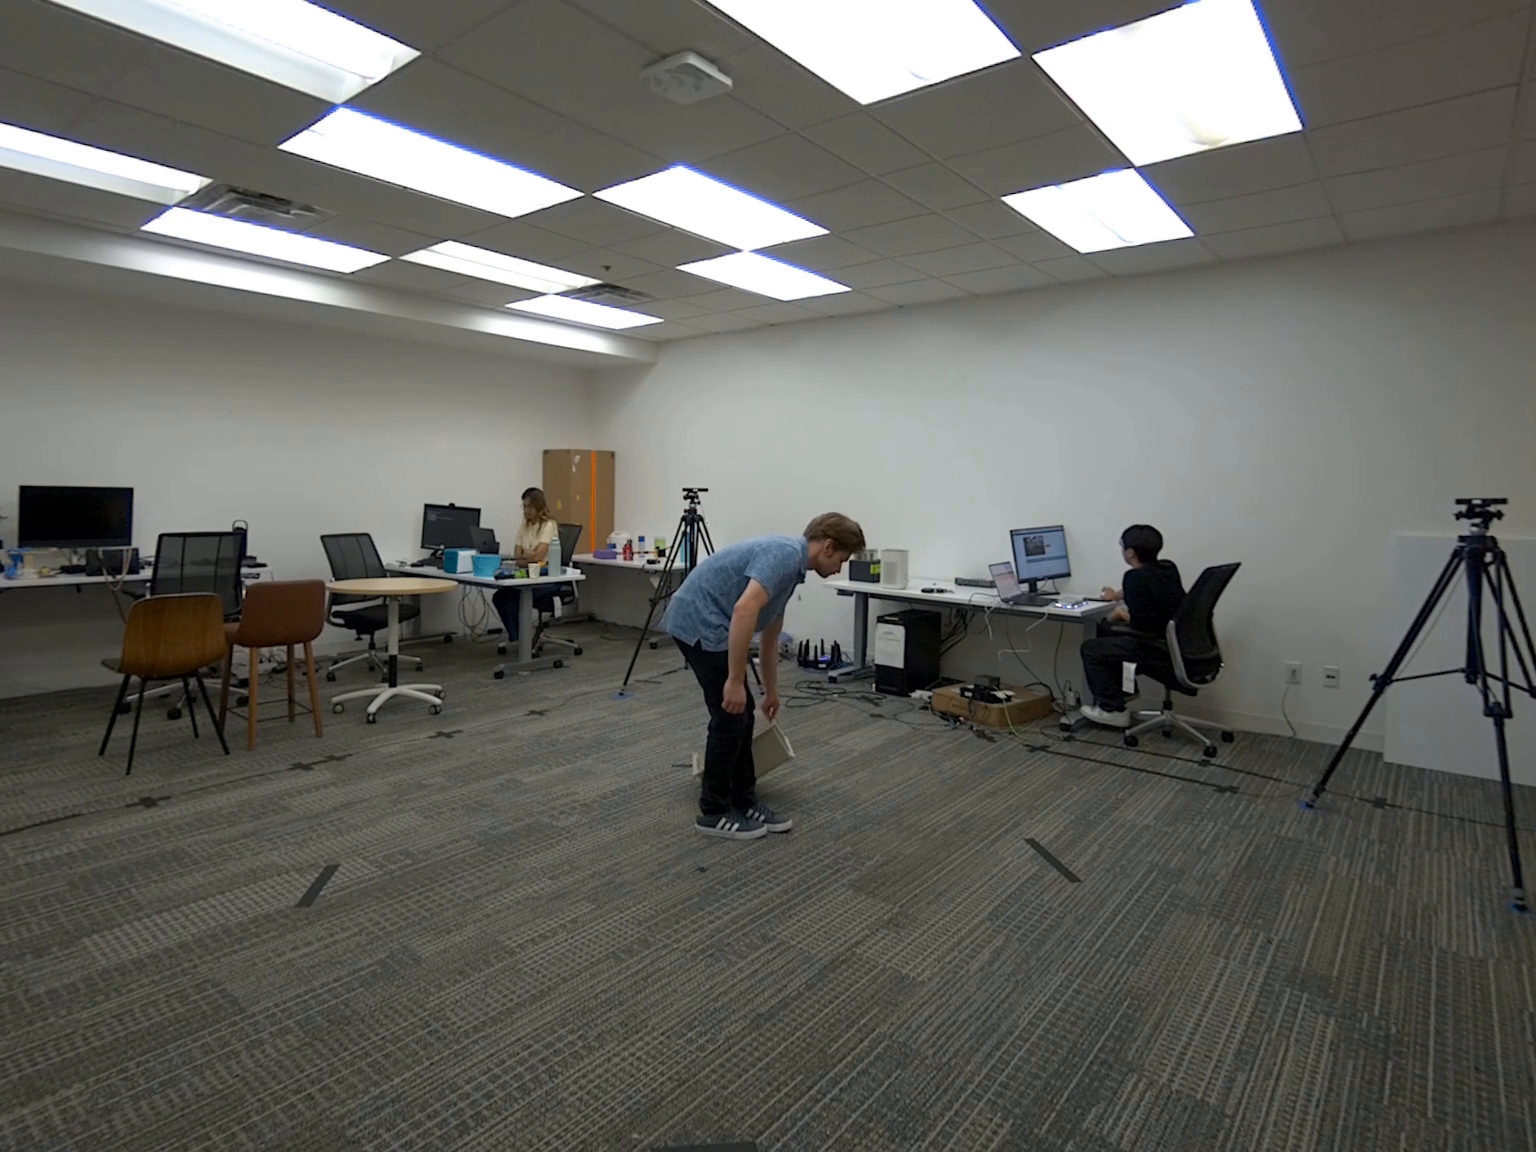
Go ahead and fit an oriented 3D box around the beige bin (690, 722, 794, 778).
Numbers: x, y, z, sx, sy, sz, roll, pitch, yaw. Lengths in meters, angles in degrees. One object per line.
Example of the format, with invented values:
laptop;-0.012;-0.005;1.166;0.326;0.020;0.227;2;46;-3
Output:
beige bin;-0.127;0.808;3.873;0.422;0.188;0.380;-31;7;-2
